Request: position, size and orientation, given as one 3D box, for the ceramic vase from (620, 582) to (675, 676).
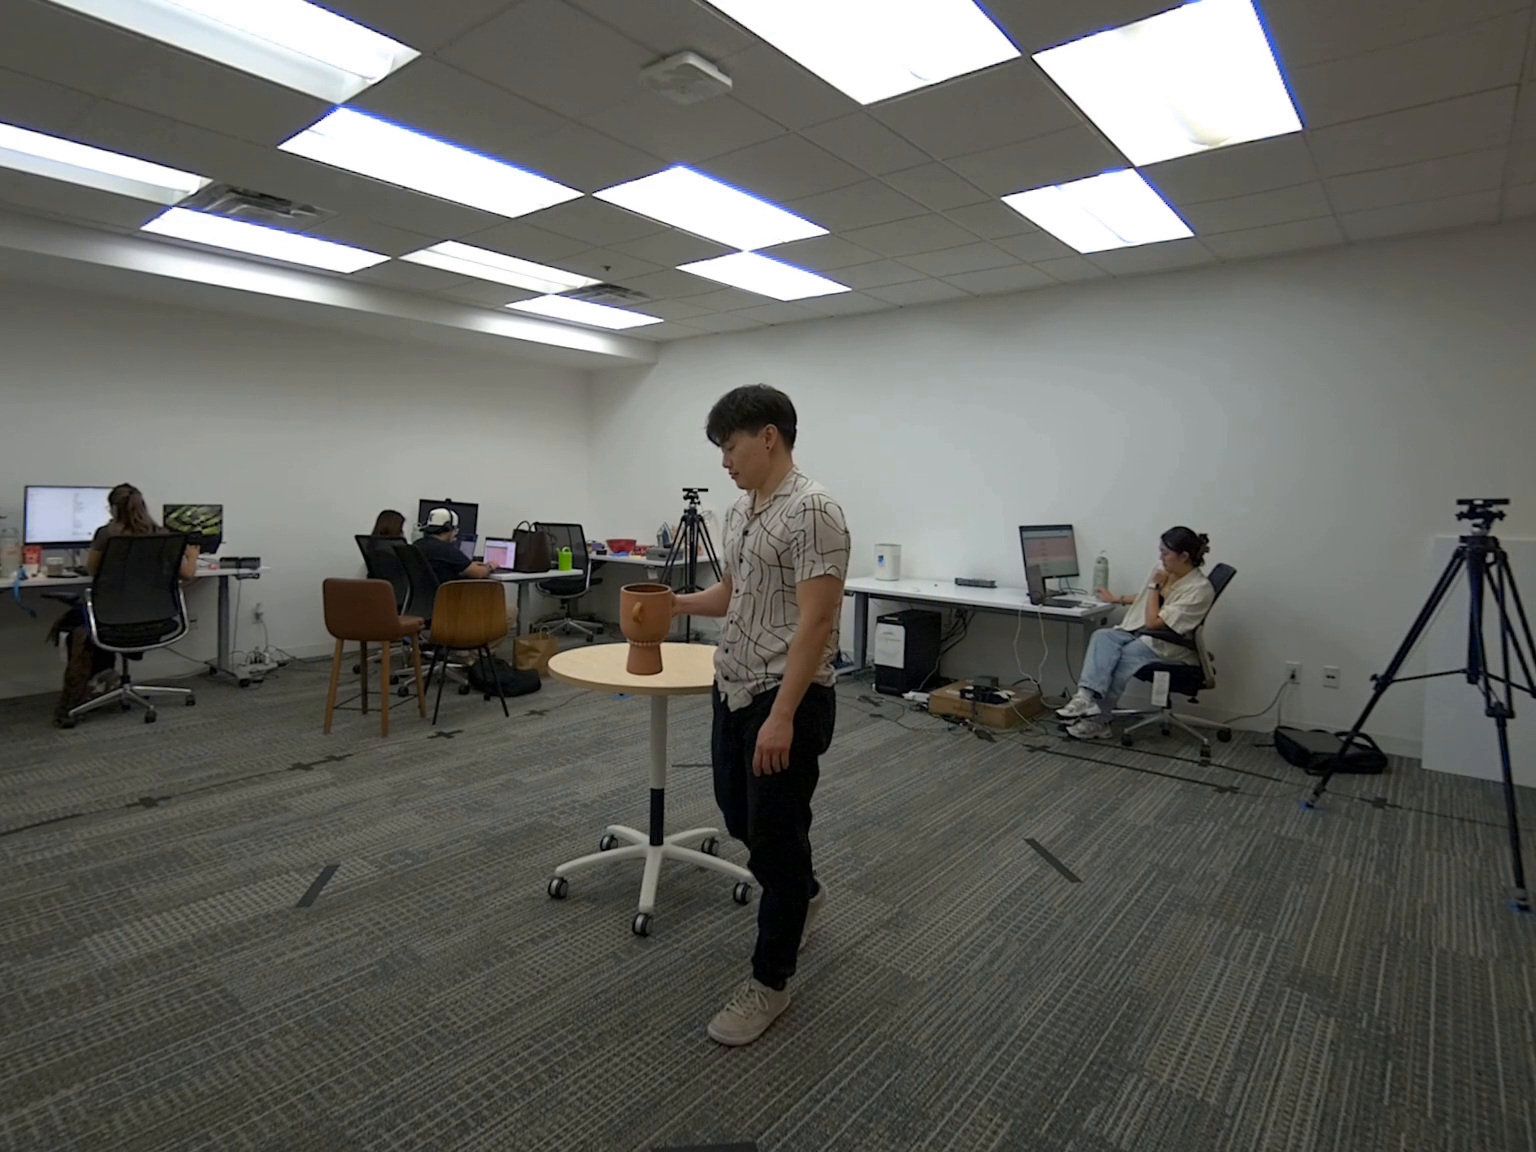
[{"bbox_3d":[-0.320,0.142,2.229,0.154,0.218,0.140,-8,14,-44],"label":"ceramic vase"}]
